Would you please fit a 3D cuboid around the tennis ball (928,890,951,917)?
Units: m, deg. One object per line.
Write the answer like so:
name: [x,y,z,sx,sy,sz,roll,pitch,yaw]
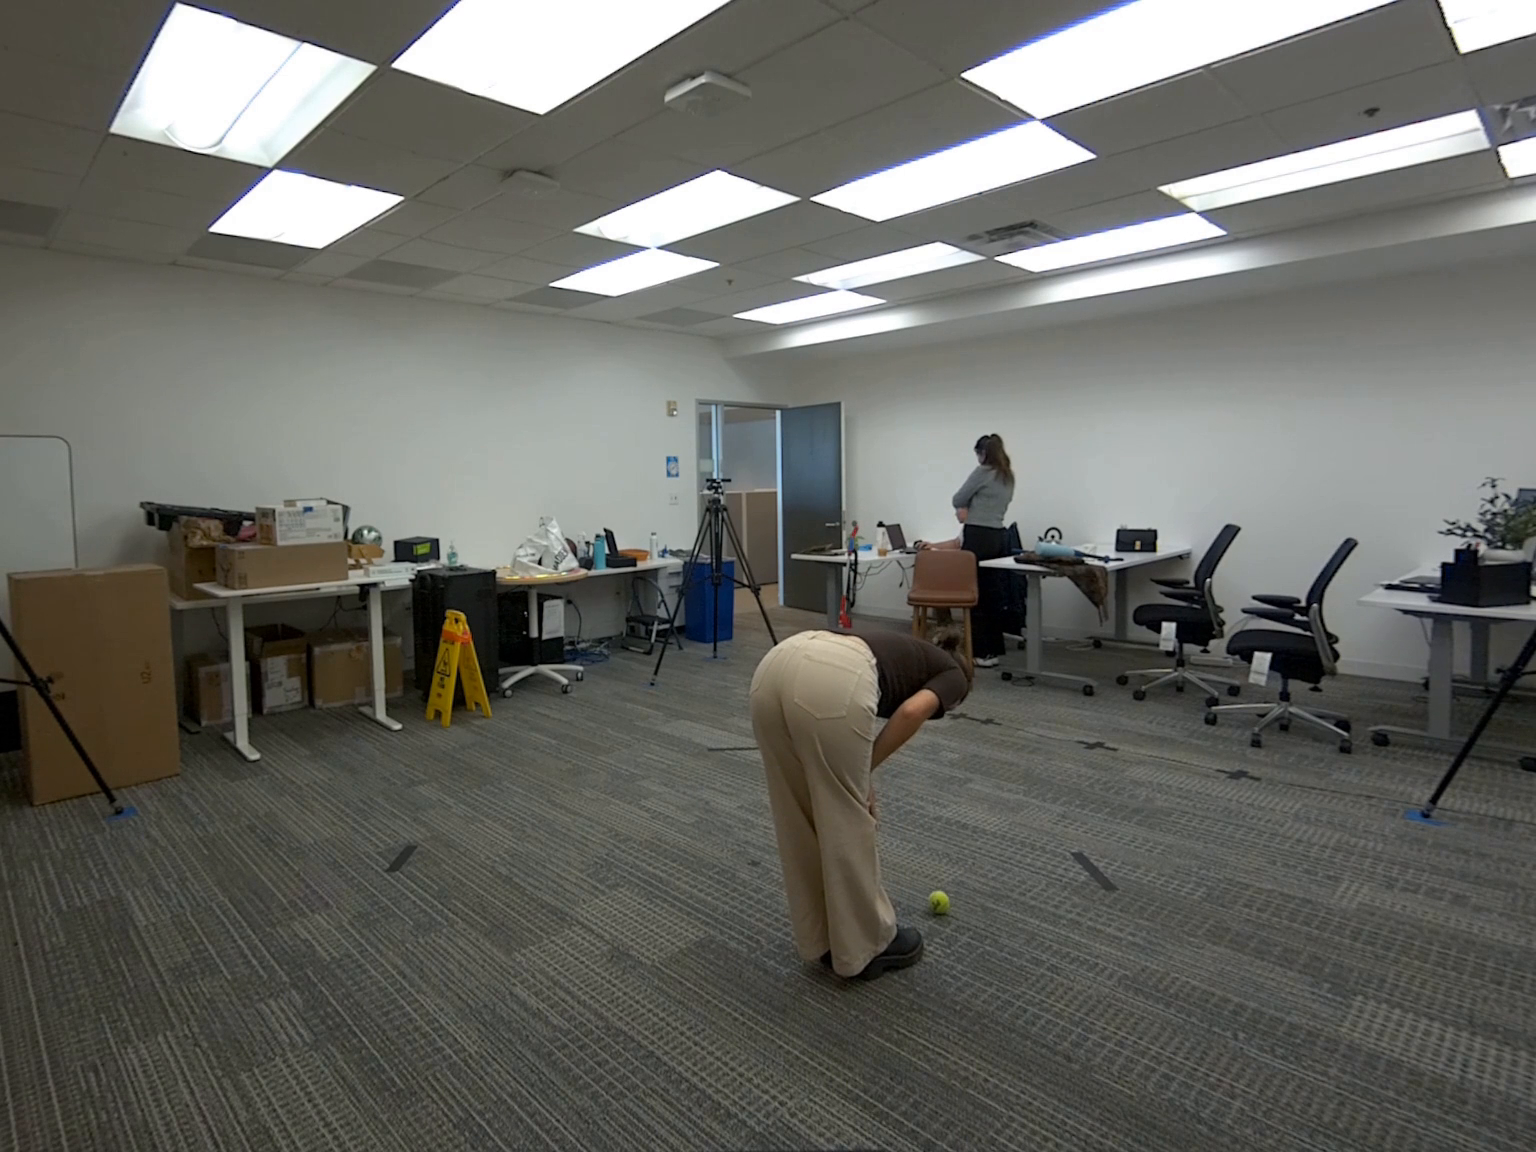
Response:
tennis ball: [0.547,1.043,2.726,0.066,0.066,0.067,-1,5,-2]
